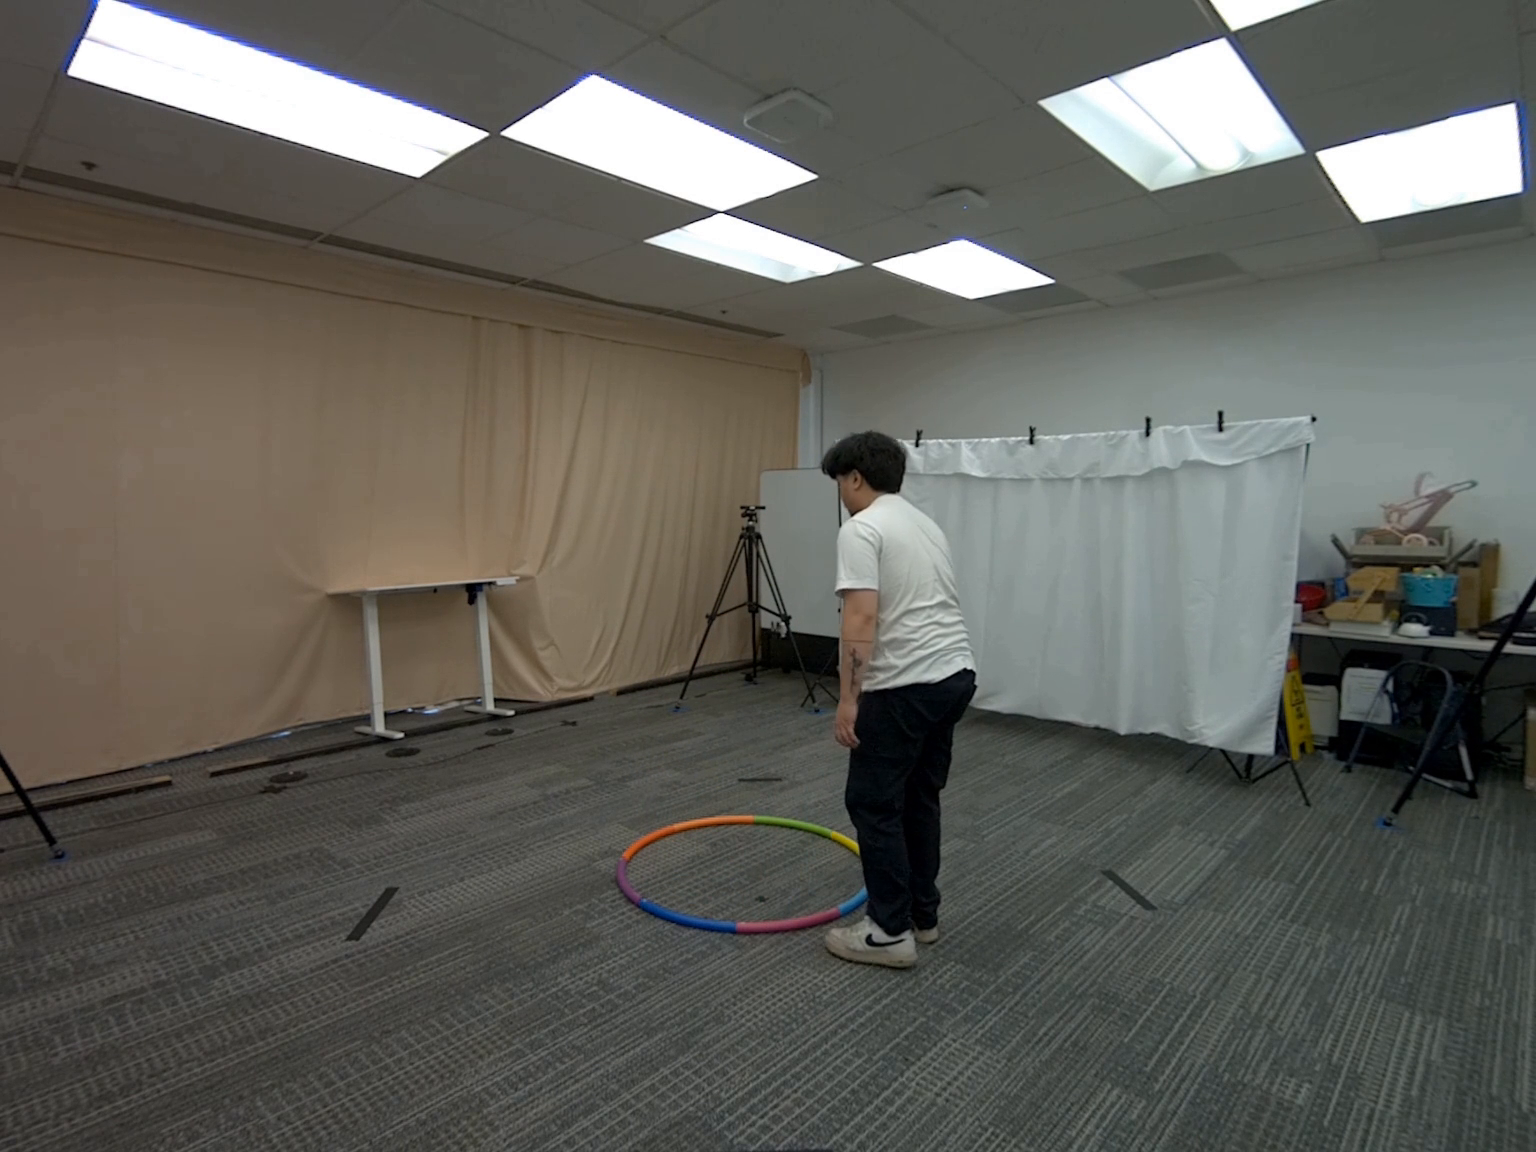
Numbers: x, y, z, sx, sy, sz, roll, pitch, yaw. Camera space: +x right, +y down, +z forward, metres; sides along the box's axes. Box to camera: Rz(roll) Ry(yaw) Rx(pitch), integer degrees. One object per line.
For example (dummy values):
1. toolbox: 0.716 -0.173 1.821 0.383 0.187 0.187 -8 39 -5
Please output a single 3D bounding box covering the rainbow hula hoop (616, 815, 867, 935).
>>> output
1. rainbow hula hoop: -0.081 1.099 3.220 0.985 0.051 0.989 0 5 -2
